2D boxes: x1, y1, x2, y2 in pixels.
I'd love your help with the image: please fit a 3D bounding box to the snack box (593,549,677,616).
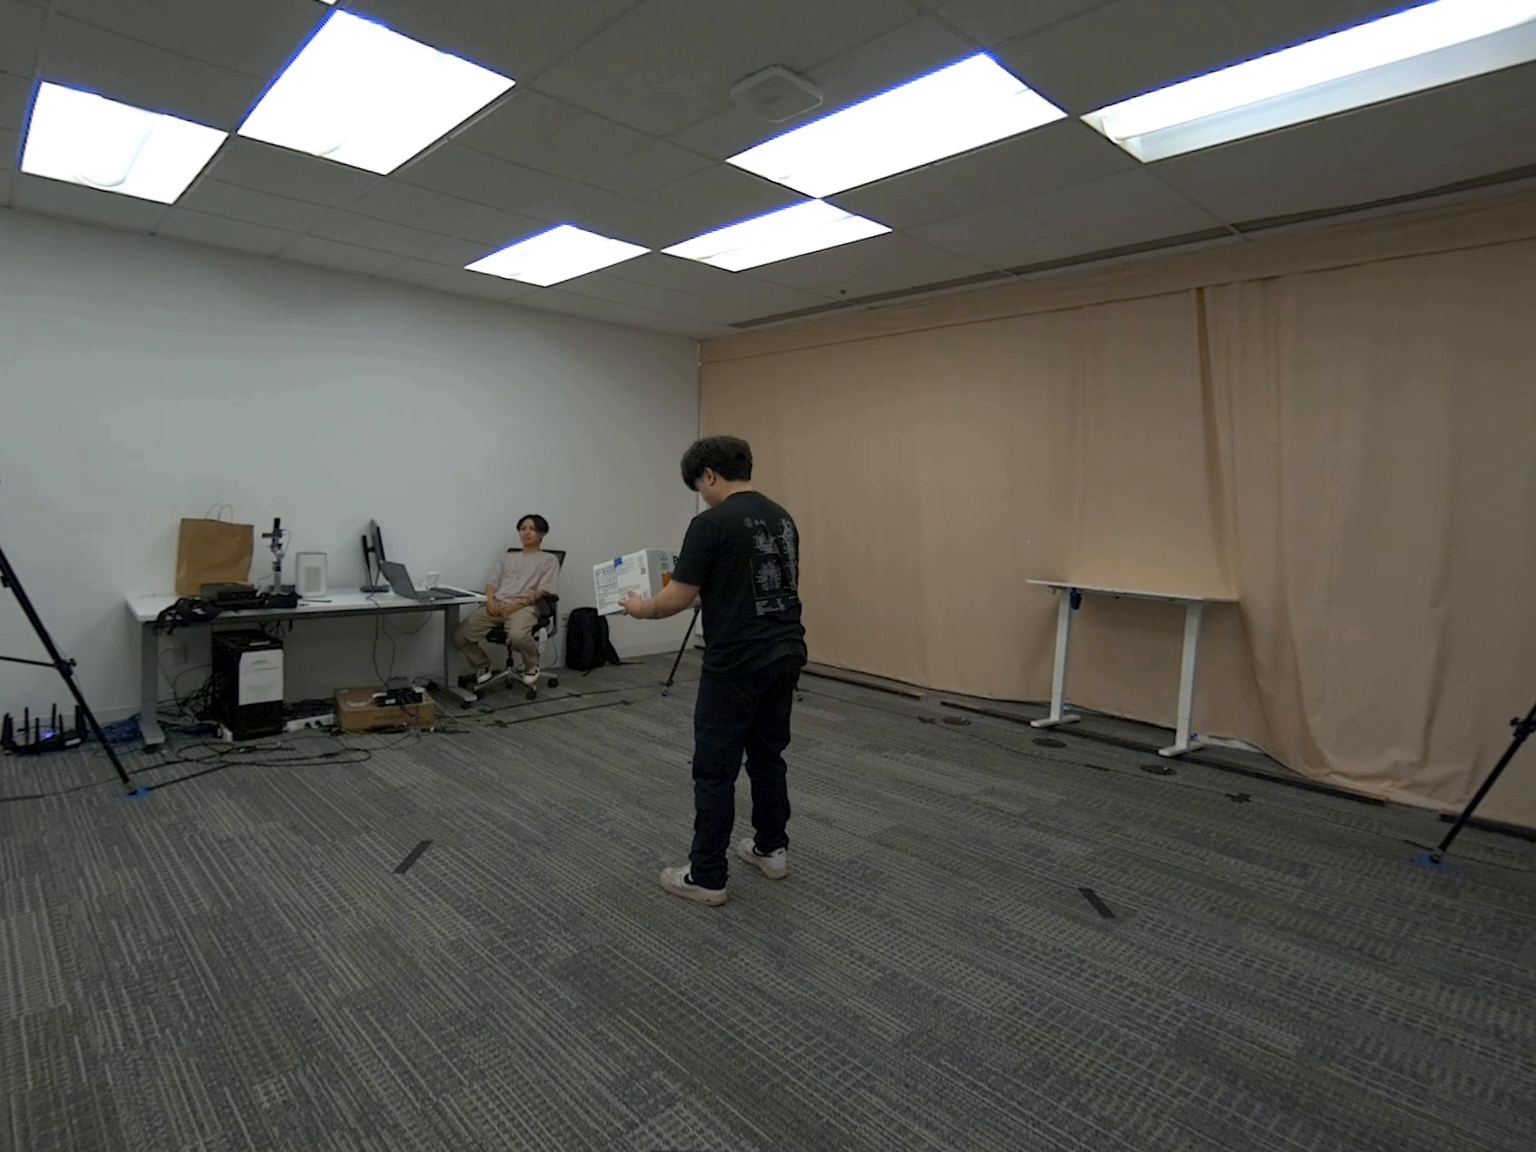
[{"bbox_3d":[-0.427,0.026,3.344,0.346,0.207,0.395,-14,-9,43],"label":"snack box"}]
